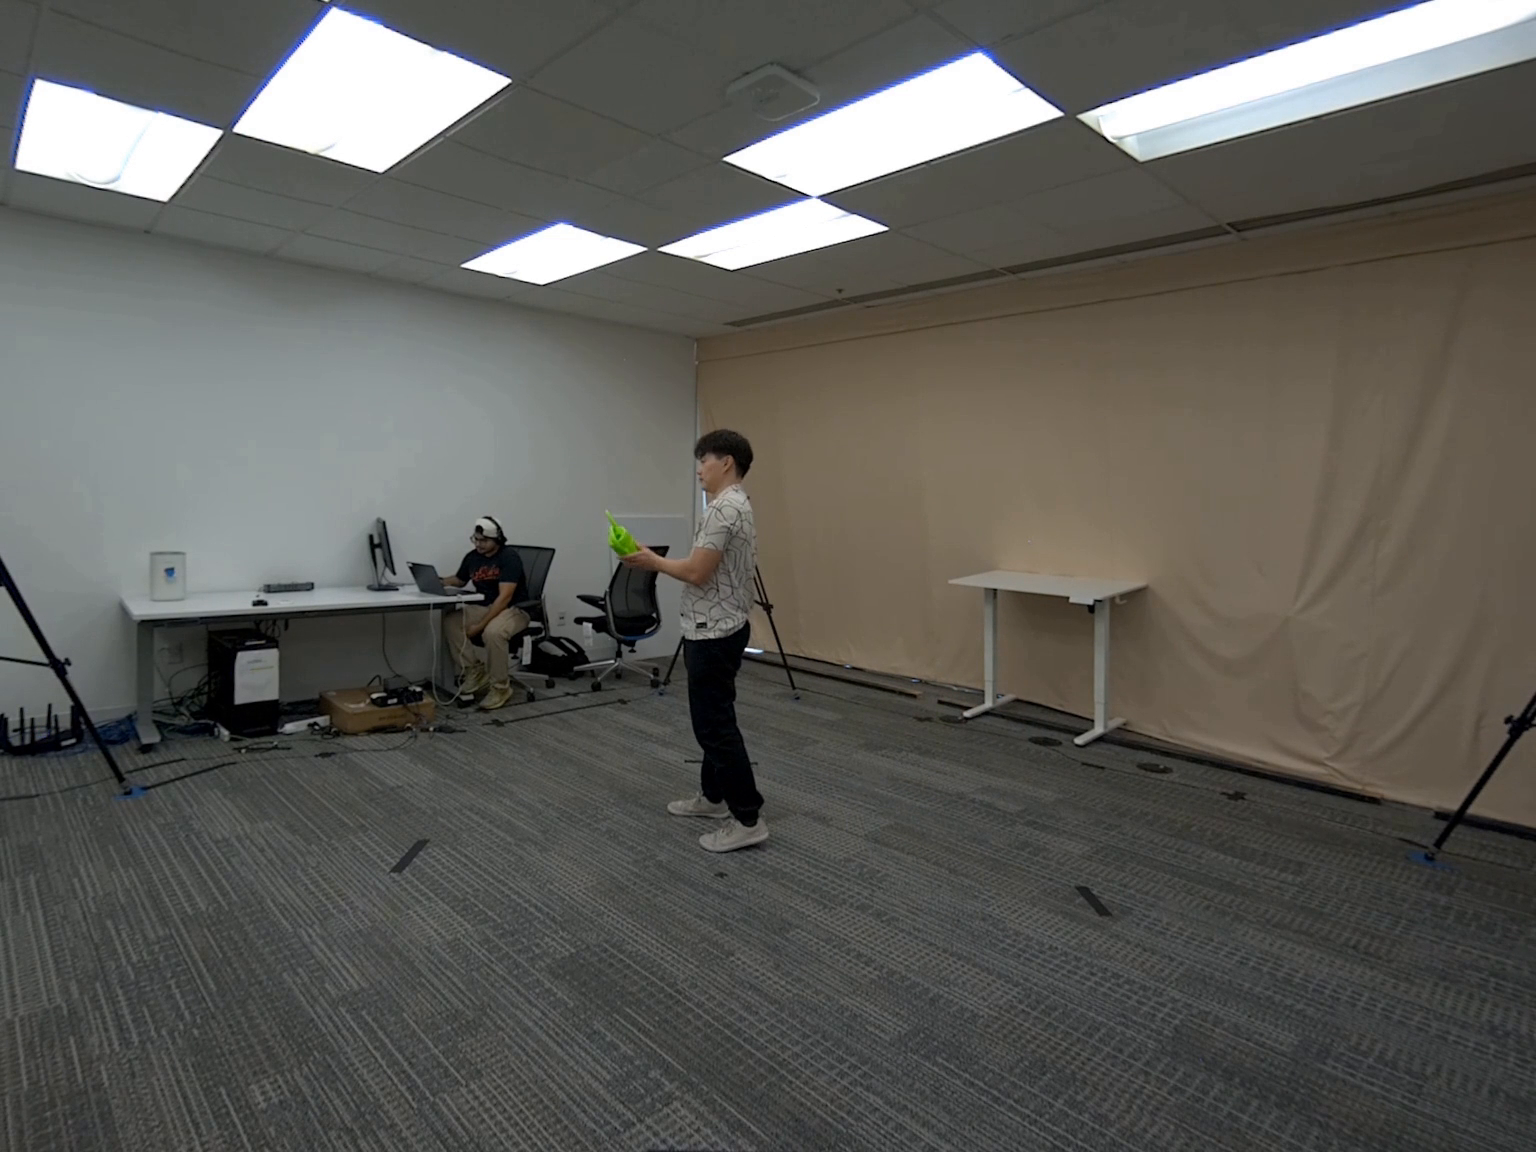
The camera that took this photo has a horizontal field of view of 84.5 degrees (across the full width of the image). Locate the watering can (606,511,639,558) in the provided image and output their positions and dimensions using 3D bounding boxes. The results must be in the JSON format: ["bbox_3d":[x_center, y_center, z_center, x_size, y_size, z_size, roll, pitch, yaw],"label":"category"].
[{"bbox_3d":[-0.605,-0.158,3.535,0.098,0.172,0.285,-27,34,15],"label":"watering can"}]
